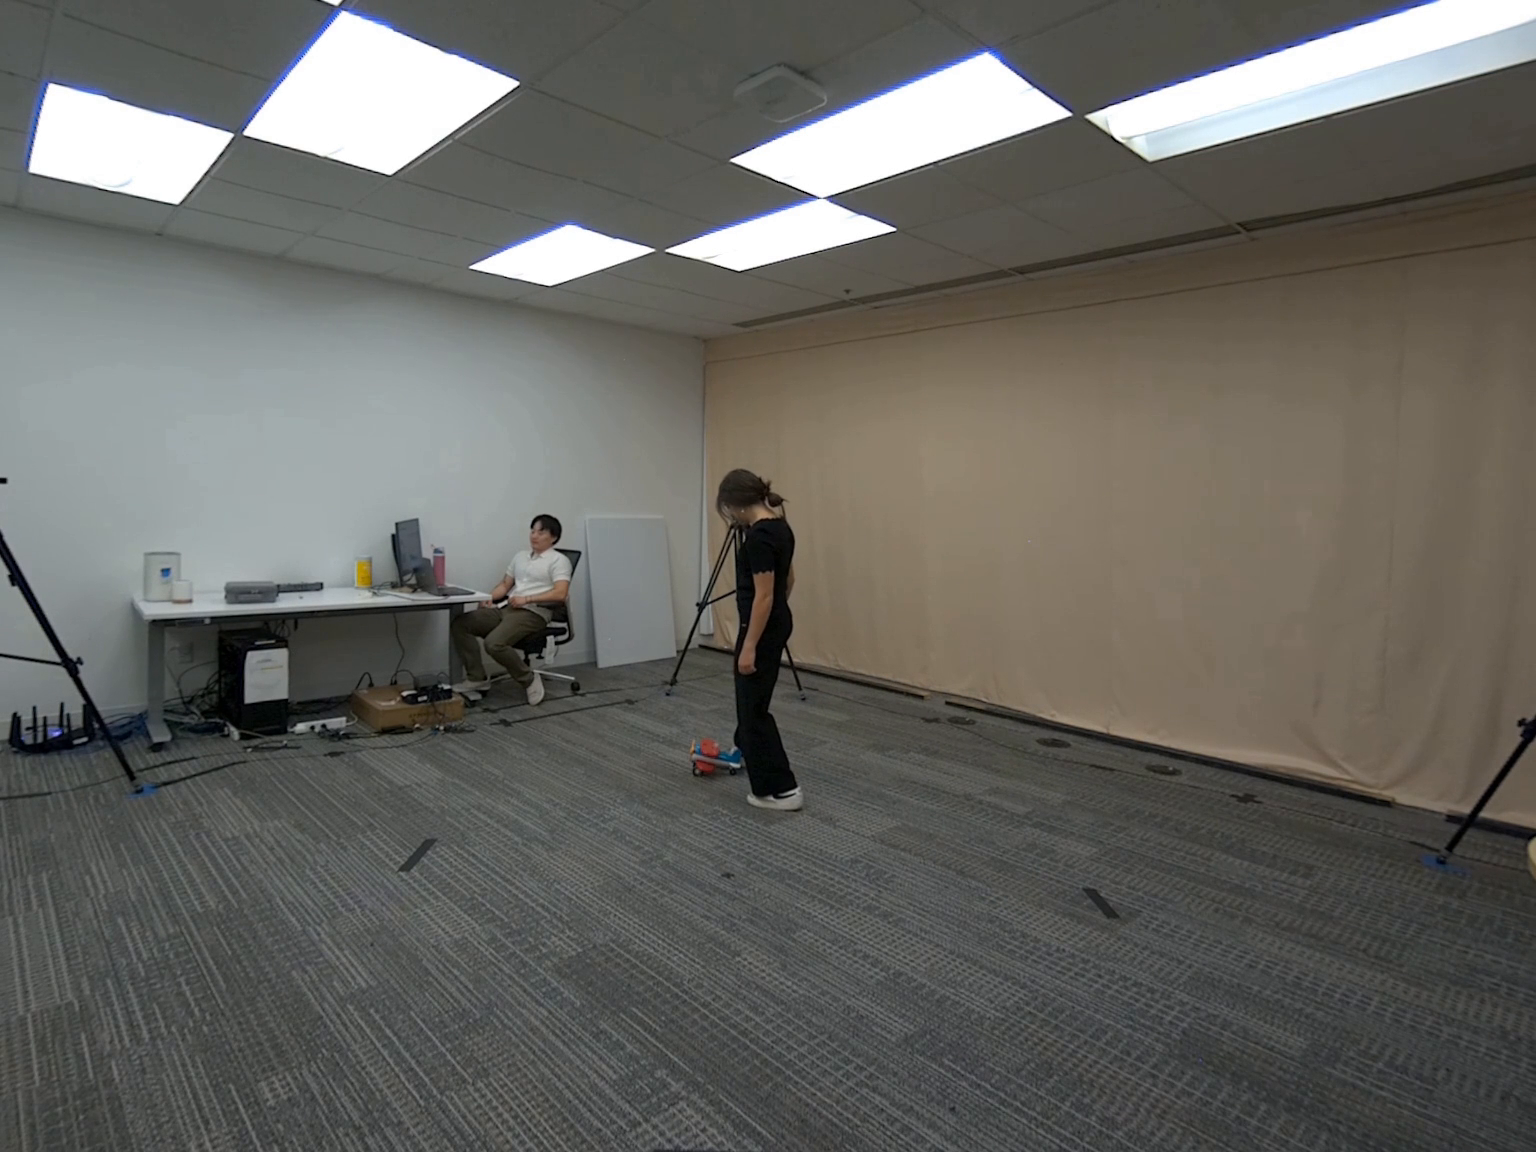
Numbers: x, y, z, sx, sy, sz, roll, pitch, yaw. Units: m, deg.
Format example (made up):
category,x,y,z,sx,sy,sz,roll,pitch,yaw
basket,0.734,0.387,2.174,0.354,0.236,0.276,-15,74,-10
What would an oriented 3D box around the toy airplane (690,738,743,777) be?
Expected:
category,x,y,z,sx,sy,sz,roll,pitch,yaw
toy airplane,-0.283,0.925,4.284,0.254,0.156,0.257,-2,6,-32
